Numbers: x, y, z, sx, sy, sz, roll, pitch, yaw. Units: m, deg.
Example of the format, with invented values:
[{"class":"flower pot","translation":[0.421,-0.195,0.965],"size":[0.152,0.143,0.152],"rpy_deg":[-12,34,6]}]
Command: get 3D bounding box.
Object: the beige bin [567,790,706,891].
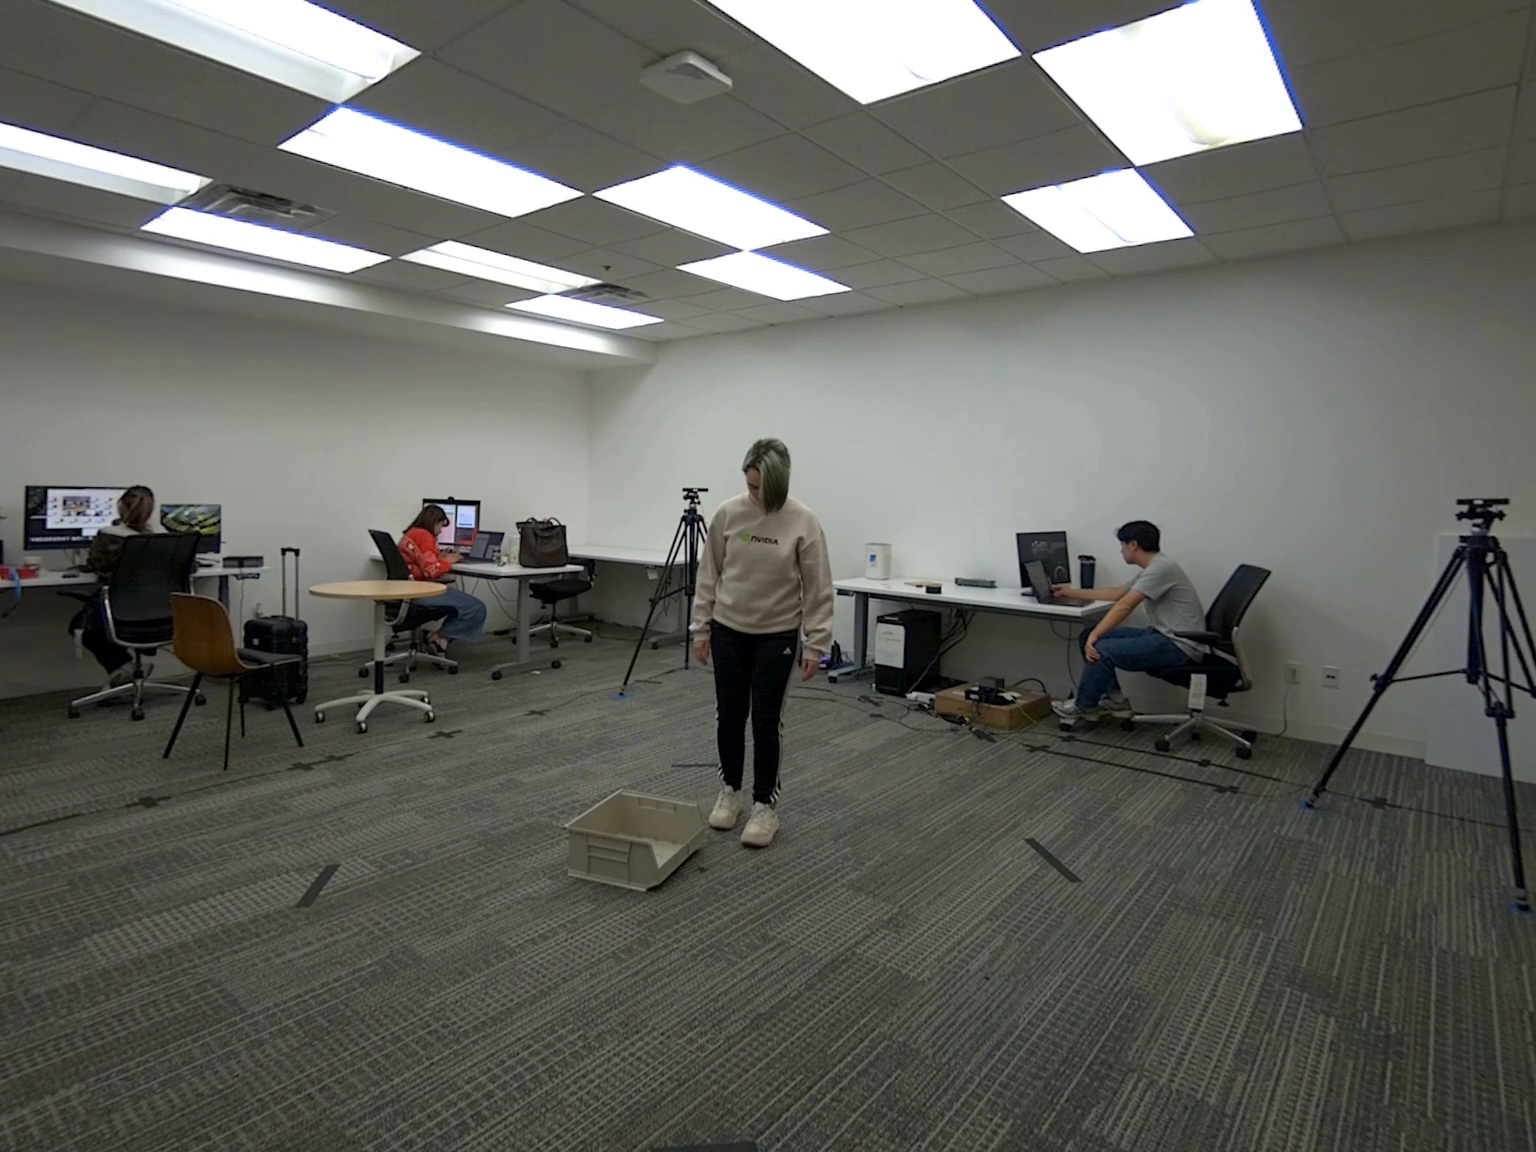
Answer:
[{"class":"beige bin","translation":[-0.494,0.972,3.154],"size":[0.386,0.188,0.415],"rpy_deg":[2,5,20]}]
